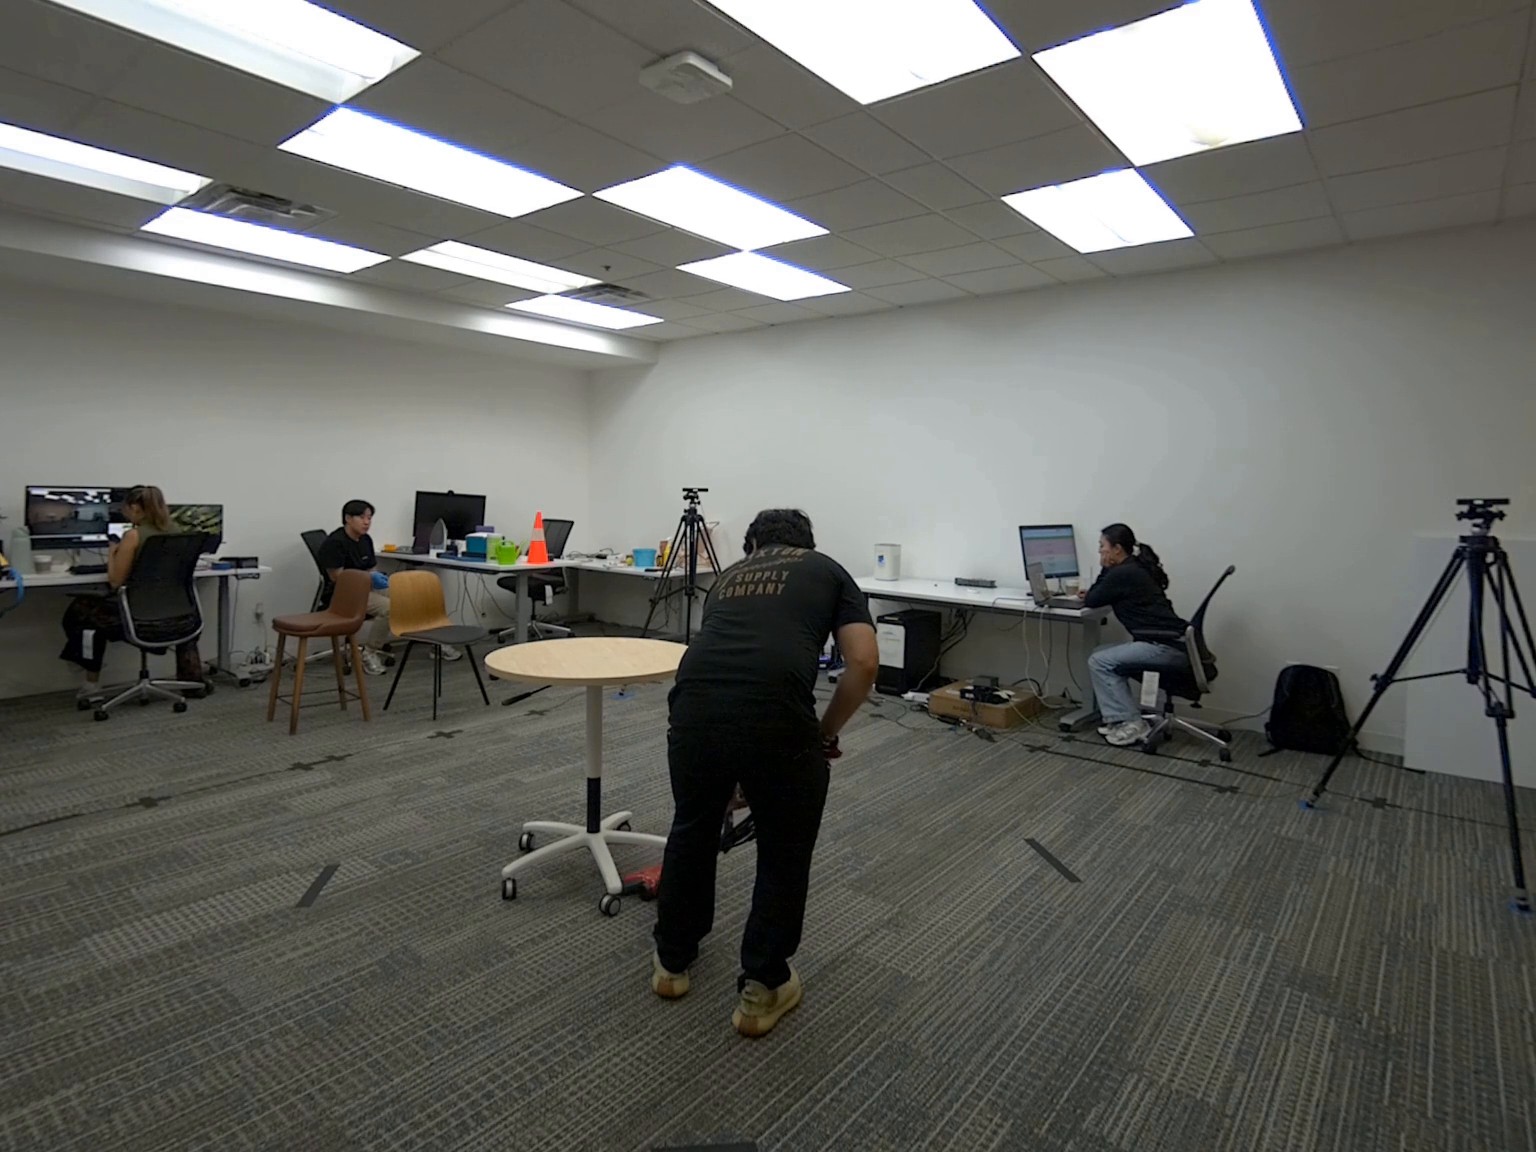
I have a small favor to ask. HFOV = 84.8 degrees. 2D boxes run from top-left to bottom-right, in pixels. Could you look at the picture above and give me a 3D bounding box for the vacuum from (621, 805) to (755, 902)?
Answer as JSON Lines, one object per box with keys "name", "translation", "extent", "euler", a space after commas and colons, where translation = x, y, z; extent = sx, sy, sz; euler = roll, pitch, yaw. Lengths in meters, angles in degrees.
{"name": "vacuum", "translation": [-0.126, 0.763, 2.617], "extent": [0.244, 0.149, 1.052], "euler": [7, -38, -40]}
